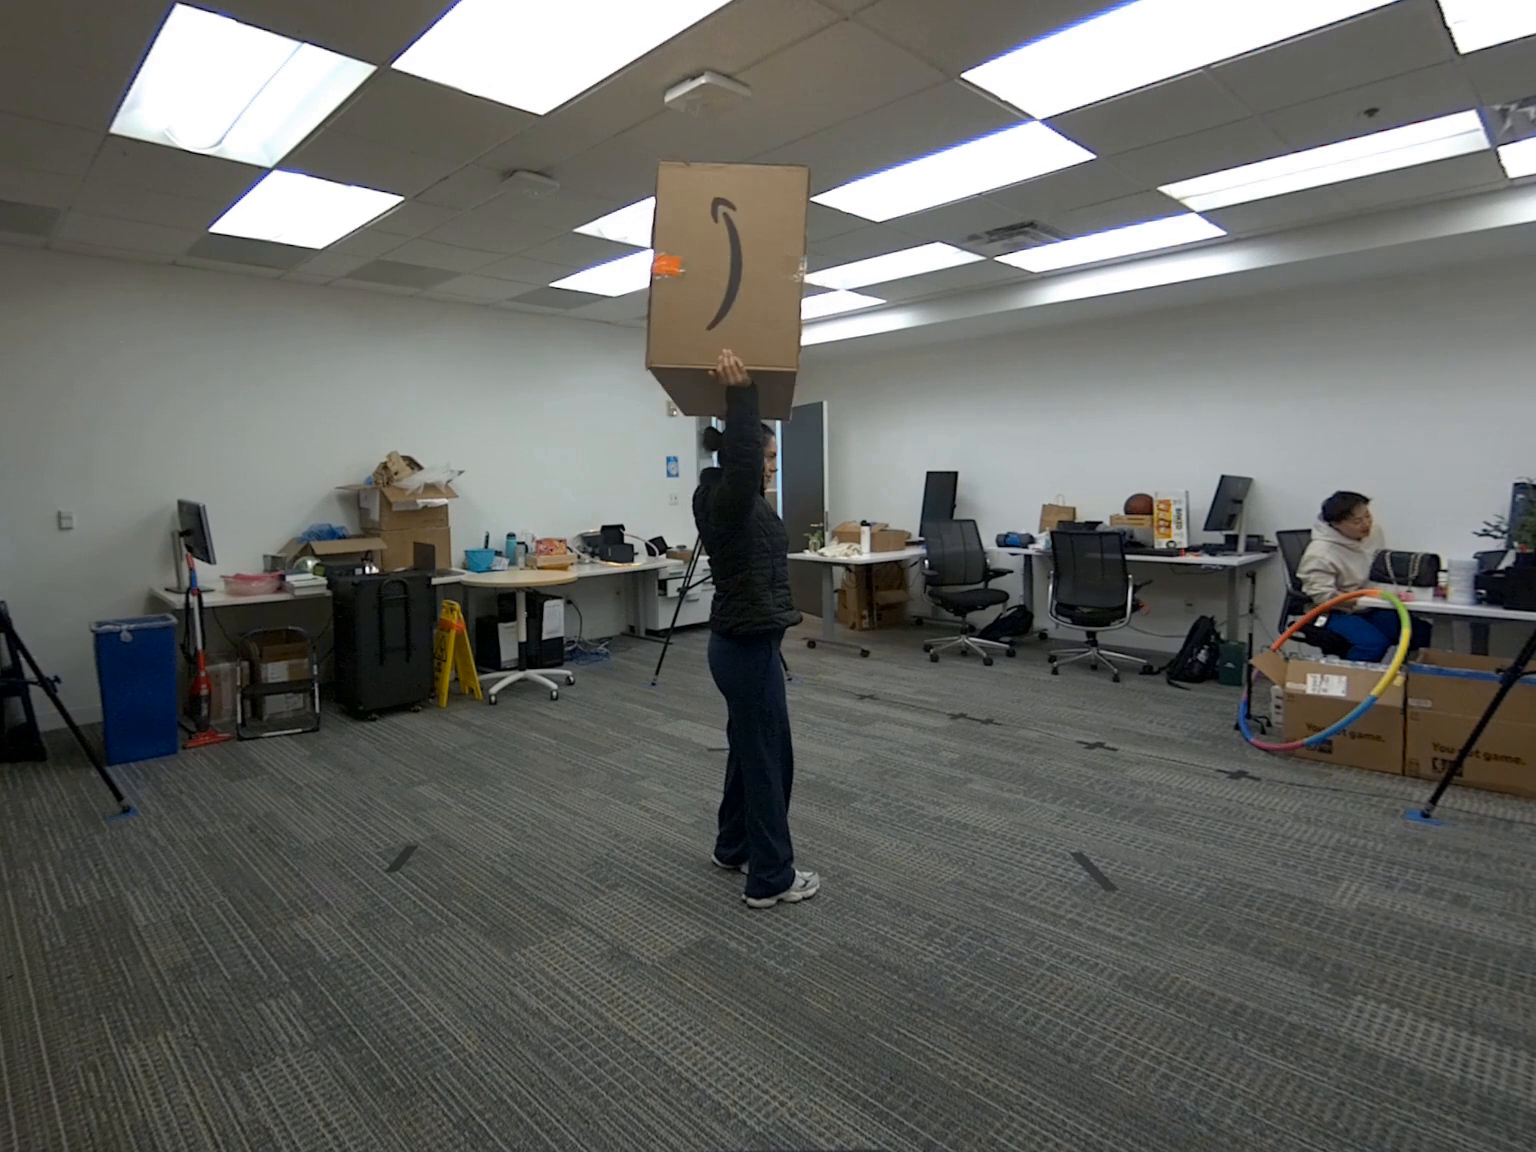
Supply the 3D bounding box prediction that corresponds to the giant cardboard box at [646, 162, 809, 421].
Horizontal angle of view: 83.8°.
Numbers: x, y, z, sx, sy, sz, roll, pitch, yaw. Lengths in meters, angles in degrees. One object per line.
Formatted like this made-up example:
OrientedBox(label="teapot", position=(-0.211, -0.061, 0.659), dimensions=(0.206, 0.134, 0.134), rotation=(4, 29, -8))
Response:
OrientedBox(label="giant cardboard box", position=(-0.111, -0.876, 2.865), dimensions=(0.447, 0.584, 1.026), rotation=(2, 1, 0))
